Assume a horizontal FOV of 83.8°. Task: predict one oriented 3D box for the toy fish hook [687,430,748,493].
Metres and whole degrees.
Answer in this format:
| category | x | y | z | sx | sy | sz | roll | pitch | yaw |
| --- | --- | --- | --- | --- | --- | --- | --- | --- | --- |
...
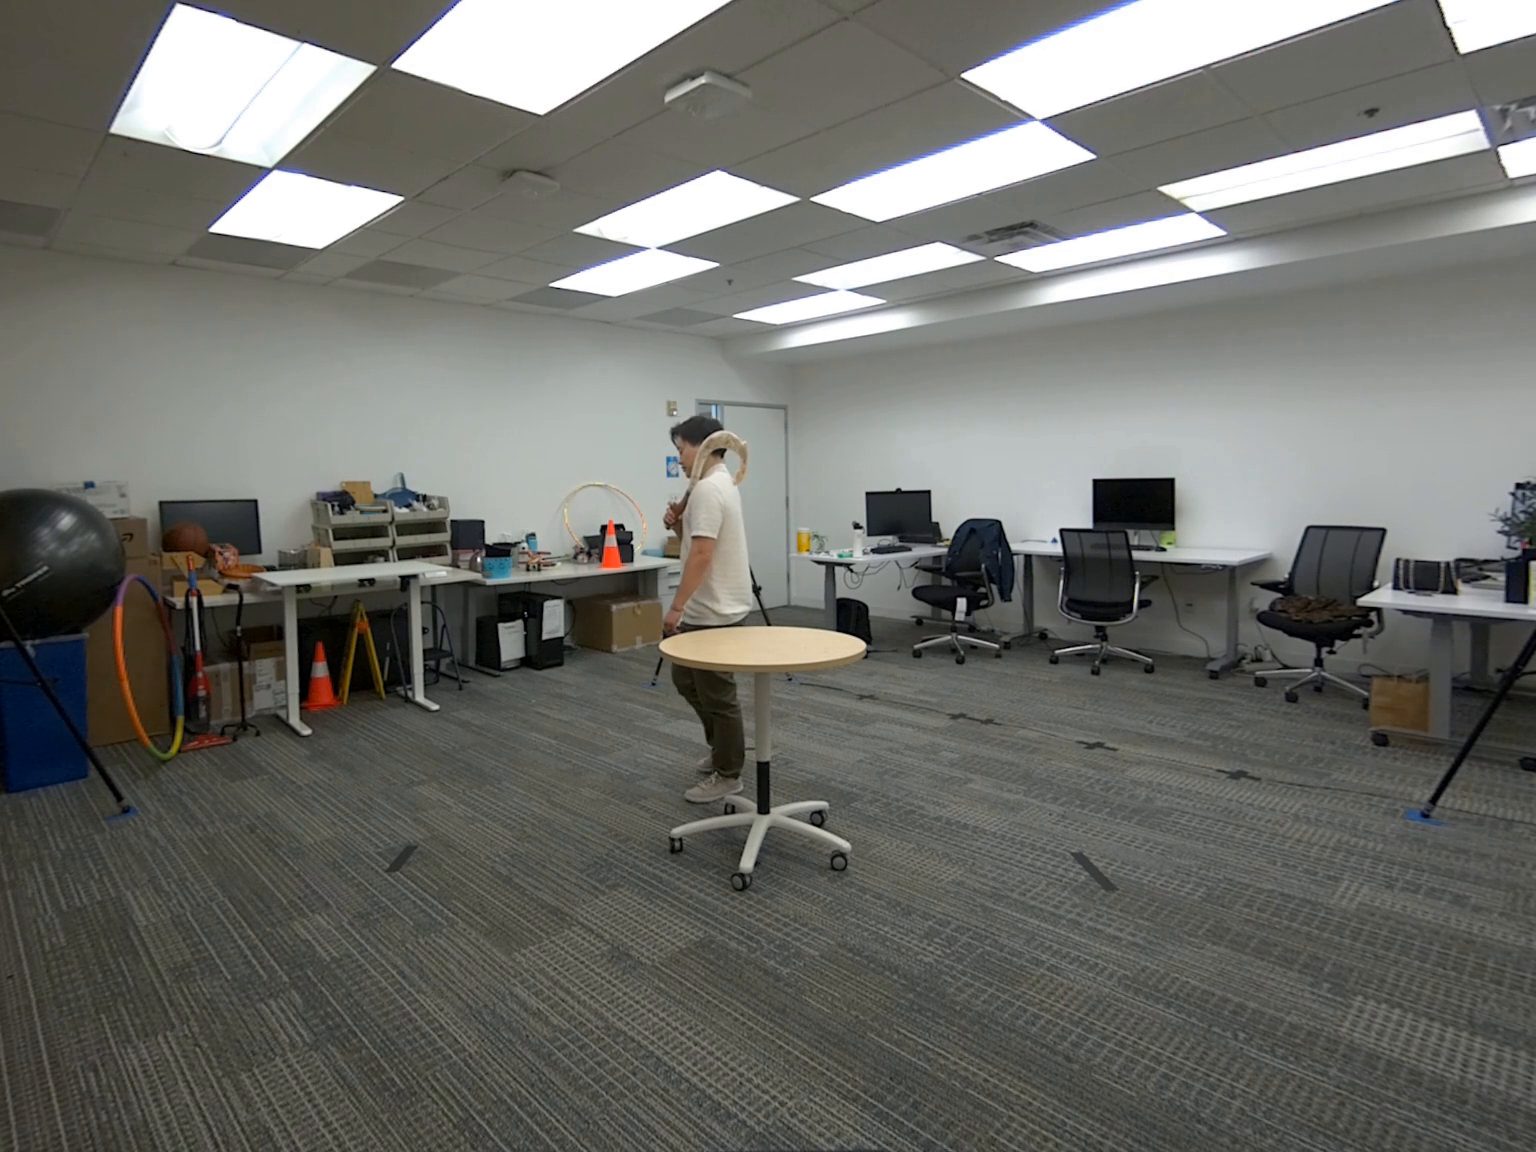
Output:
| category | x | y | z | sx | sy | sz | roll | pitch | yaw |
| --- | --- | --- | --- | --- | --- | --- | --- | --- | --- |
| toy fish hook | -0.259 | -0.383 | 3.677 | 0.223 | 0.505 | 0.049 | 31 | 15 | -7 |
